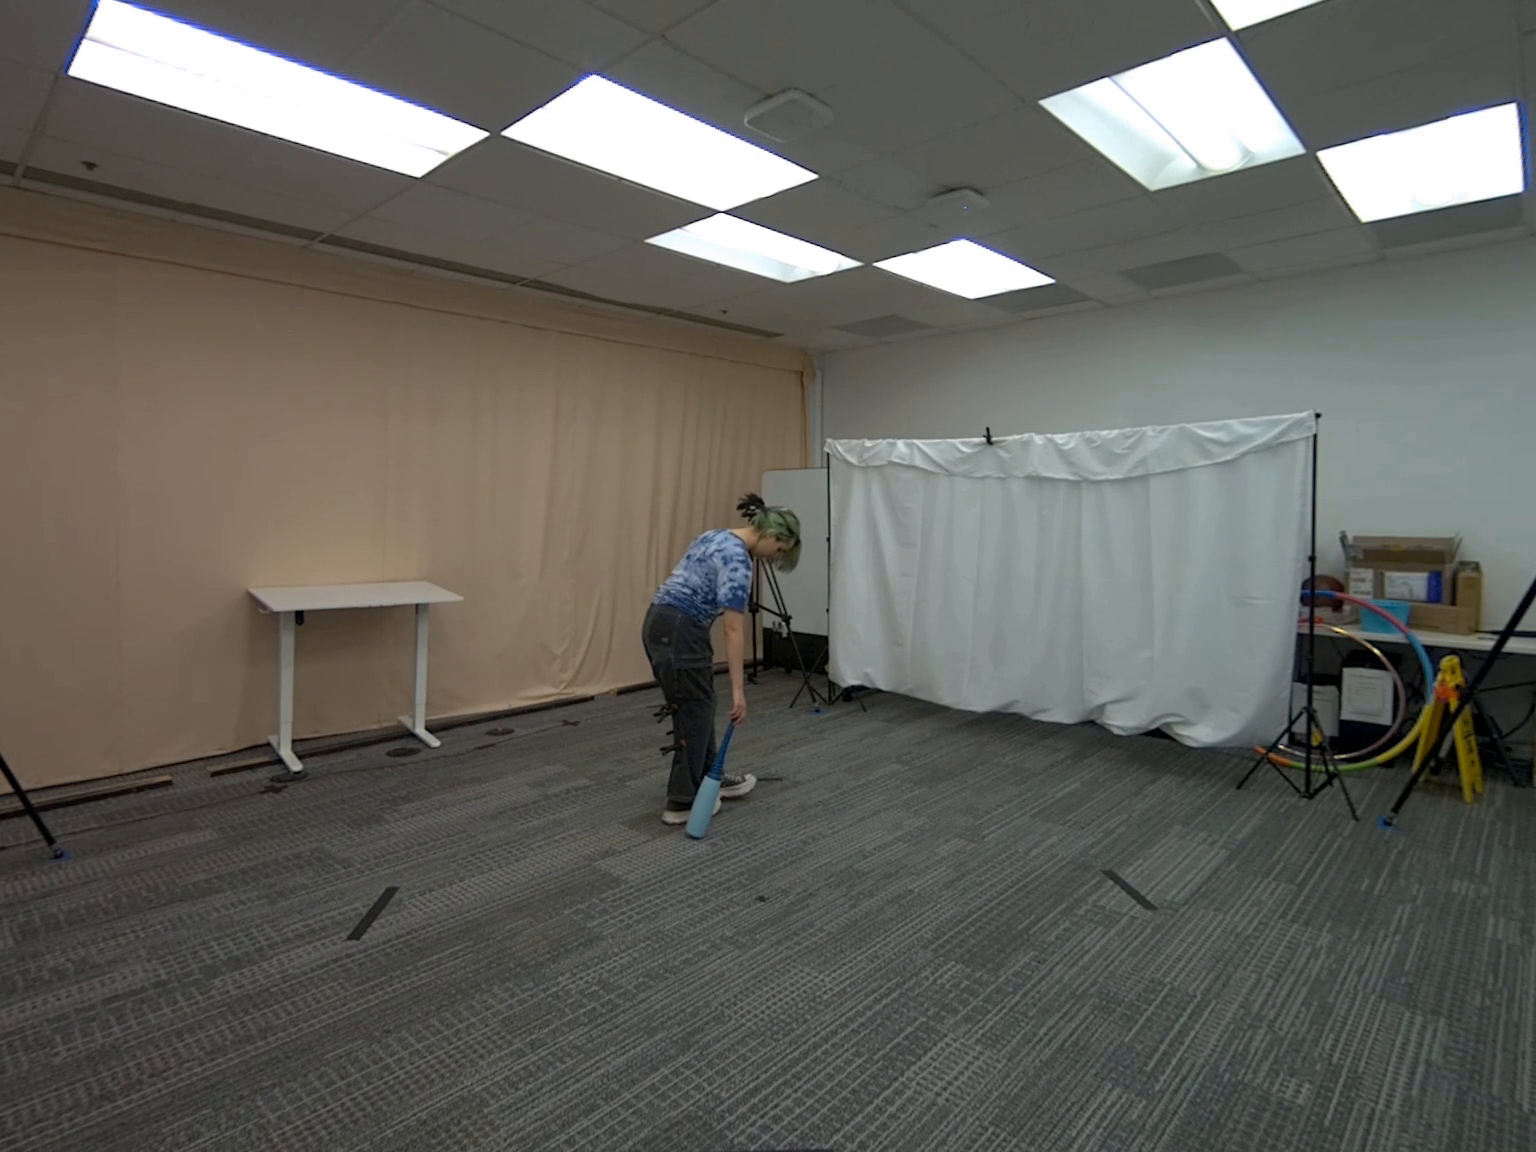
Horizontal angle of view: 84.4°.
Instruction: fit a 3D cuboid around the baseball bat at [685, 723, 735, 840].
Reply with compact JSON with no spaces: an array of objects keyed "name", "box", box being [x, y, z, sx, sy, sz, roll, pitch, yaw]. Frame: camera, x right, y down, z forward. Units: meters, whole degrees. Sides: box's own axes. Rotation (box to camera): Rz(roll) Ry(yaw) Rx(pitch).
[{"name":"baseball bat","box":[-0.227,0.836,3.563,0.089,0.543,0.089,19,-3,-1]}]
